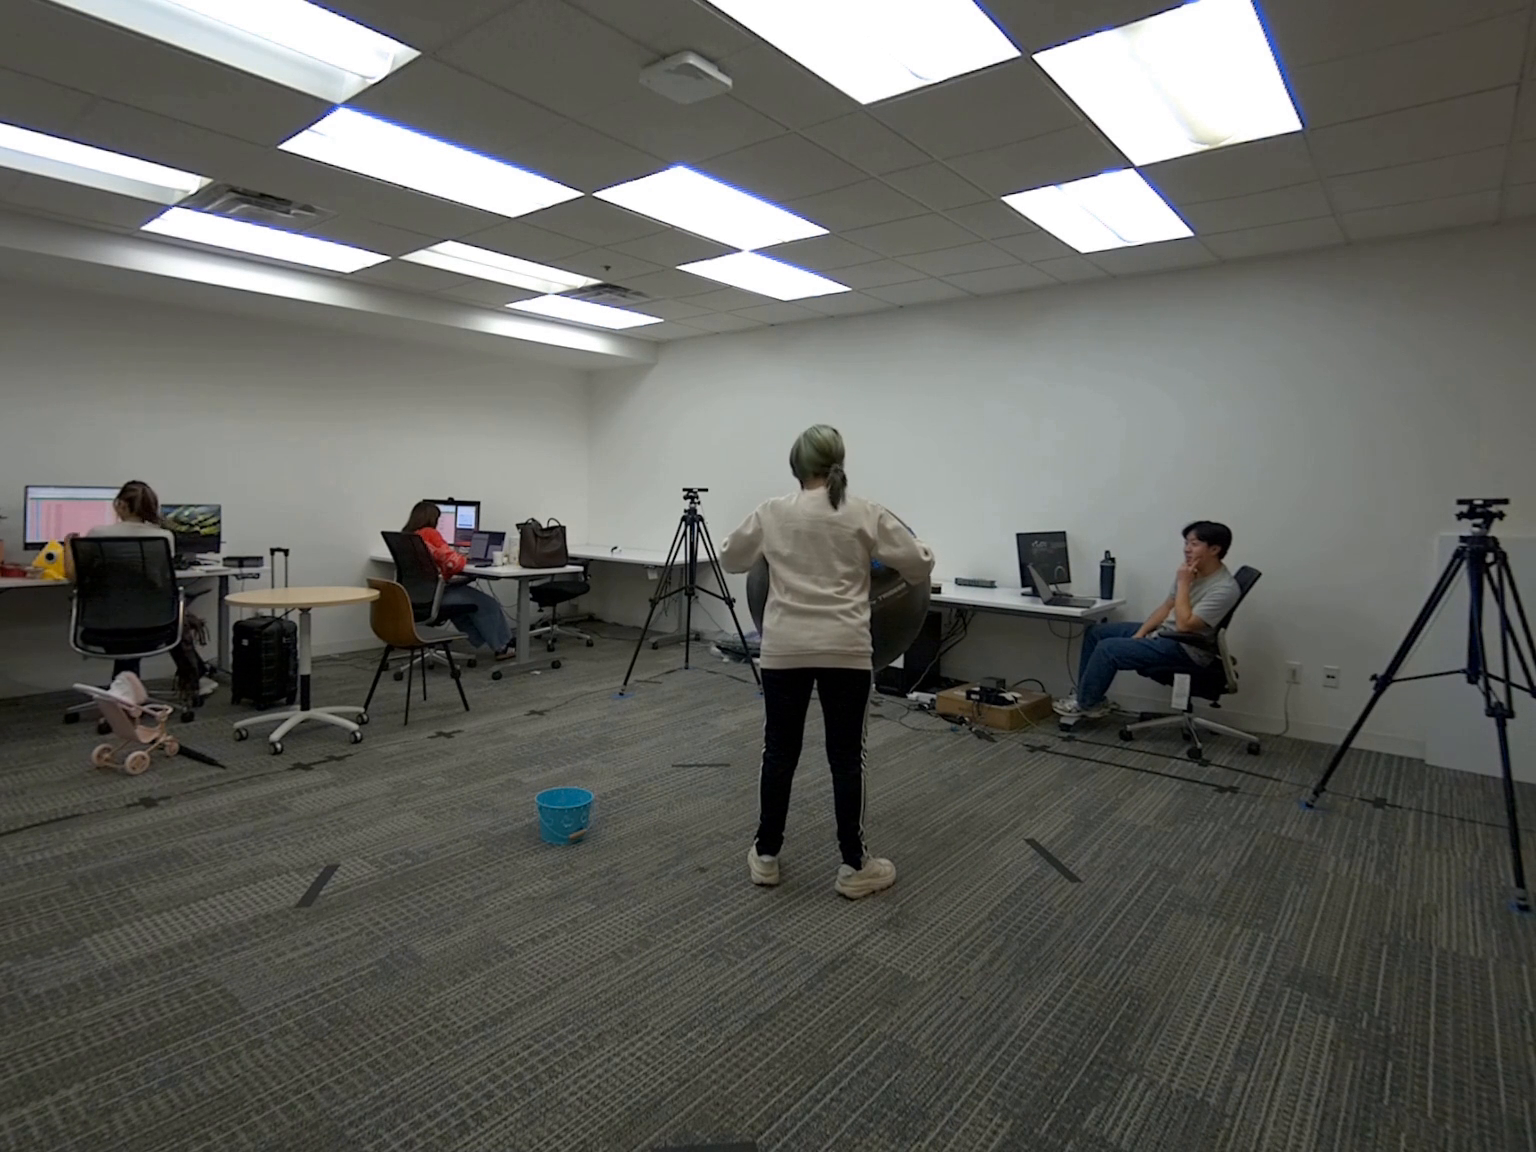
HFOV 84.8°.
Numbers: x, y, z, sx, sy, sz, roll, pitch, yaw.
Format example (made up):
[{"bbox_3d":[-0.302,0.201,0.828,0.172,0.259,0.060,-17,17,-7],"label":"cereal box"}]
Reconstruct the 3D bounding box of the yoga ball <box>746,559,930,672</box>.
[{"bbox_3d":[0.291,0.060,3.514,0.757,0.755,0.762,1,4,-2],"label":"yoga ball"}]
